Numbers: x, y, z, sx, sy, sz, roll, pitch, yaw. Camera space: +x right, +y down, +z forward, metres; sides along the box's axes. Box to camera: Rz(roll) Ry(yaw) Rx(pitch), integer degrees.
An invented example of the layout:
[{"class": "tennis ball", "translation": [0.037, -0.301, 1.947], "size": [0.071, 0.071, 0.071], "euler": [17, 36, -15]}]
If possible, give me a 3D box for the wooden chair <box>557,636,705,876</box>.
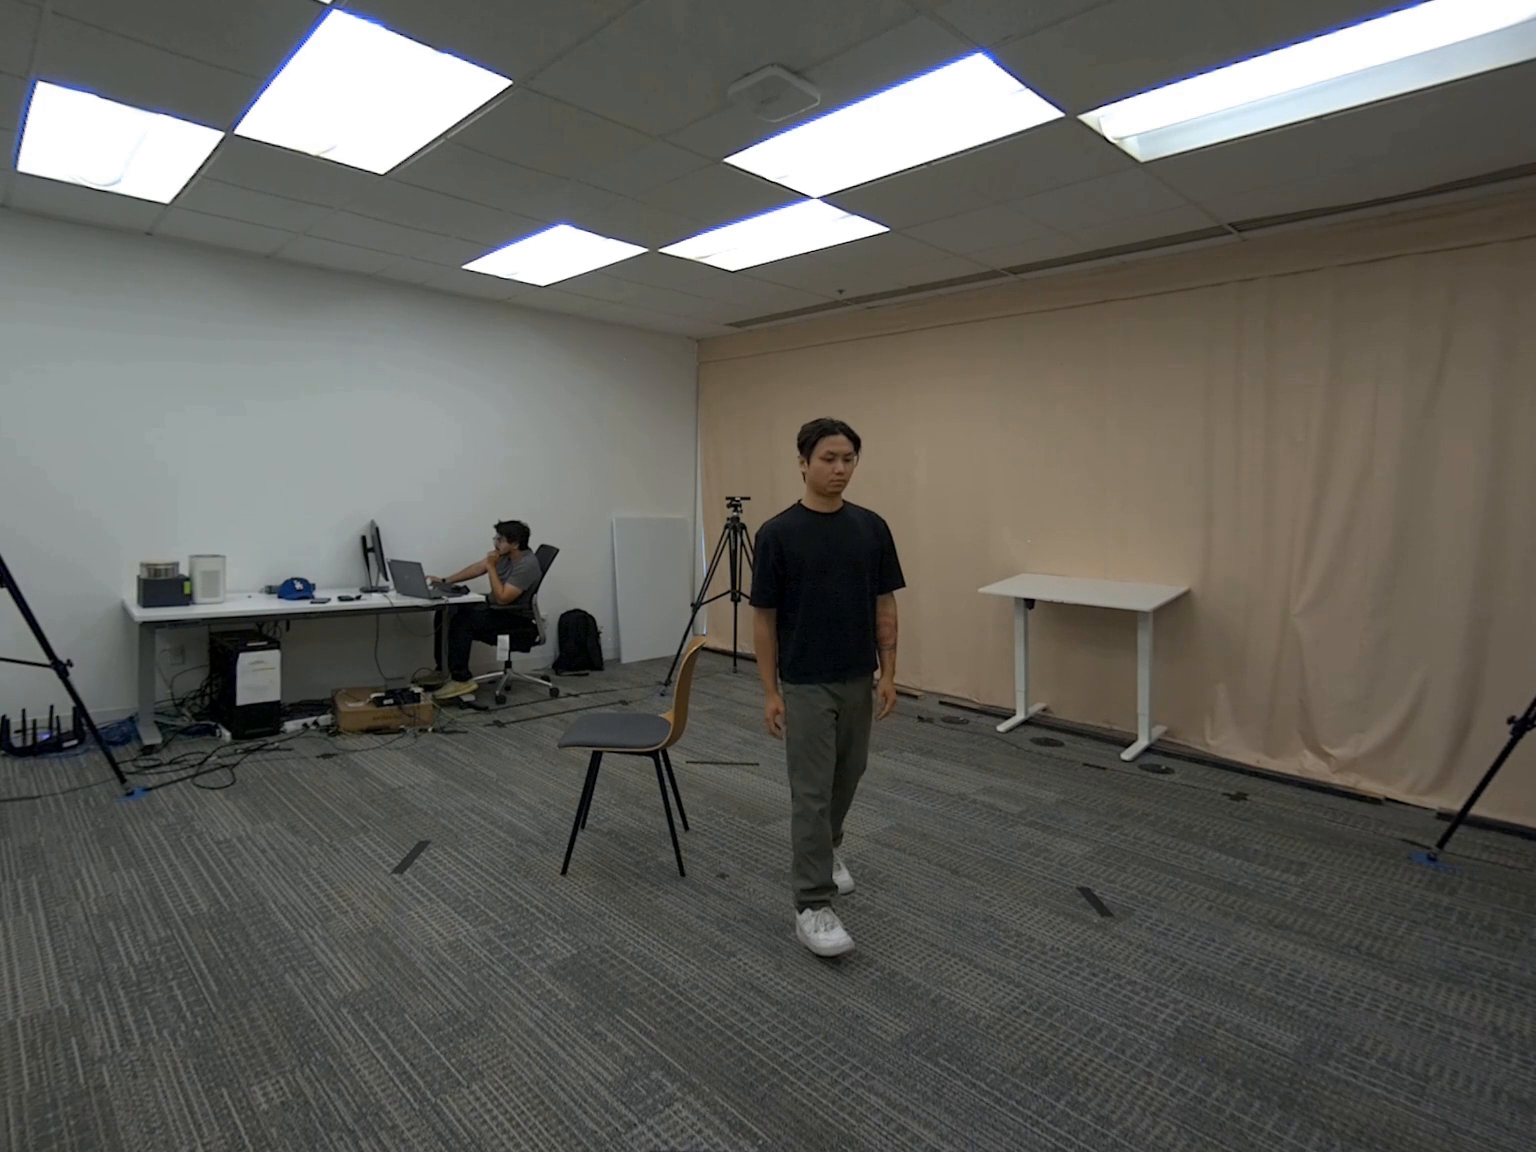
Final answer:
[{"class": "wooden chair", "translation": [-0.543, 0.657, 3.266], "size": [0.522, 0.875, 0.480], "euler": [5, 4, -3]}]
